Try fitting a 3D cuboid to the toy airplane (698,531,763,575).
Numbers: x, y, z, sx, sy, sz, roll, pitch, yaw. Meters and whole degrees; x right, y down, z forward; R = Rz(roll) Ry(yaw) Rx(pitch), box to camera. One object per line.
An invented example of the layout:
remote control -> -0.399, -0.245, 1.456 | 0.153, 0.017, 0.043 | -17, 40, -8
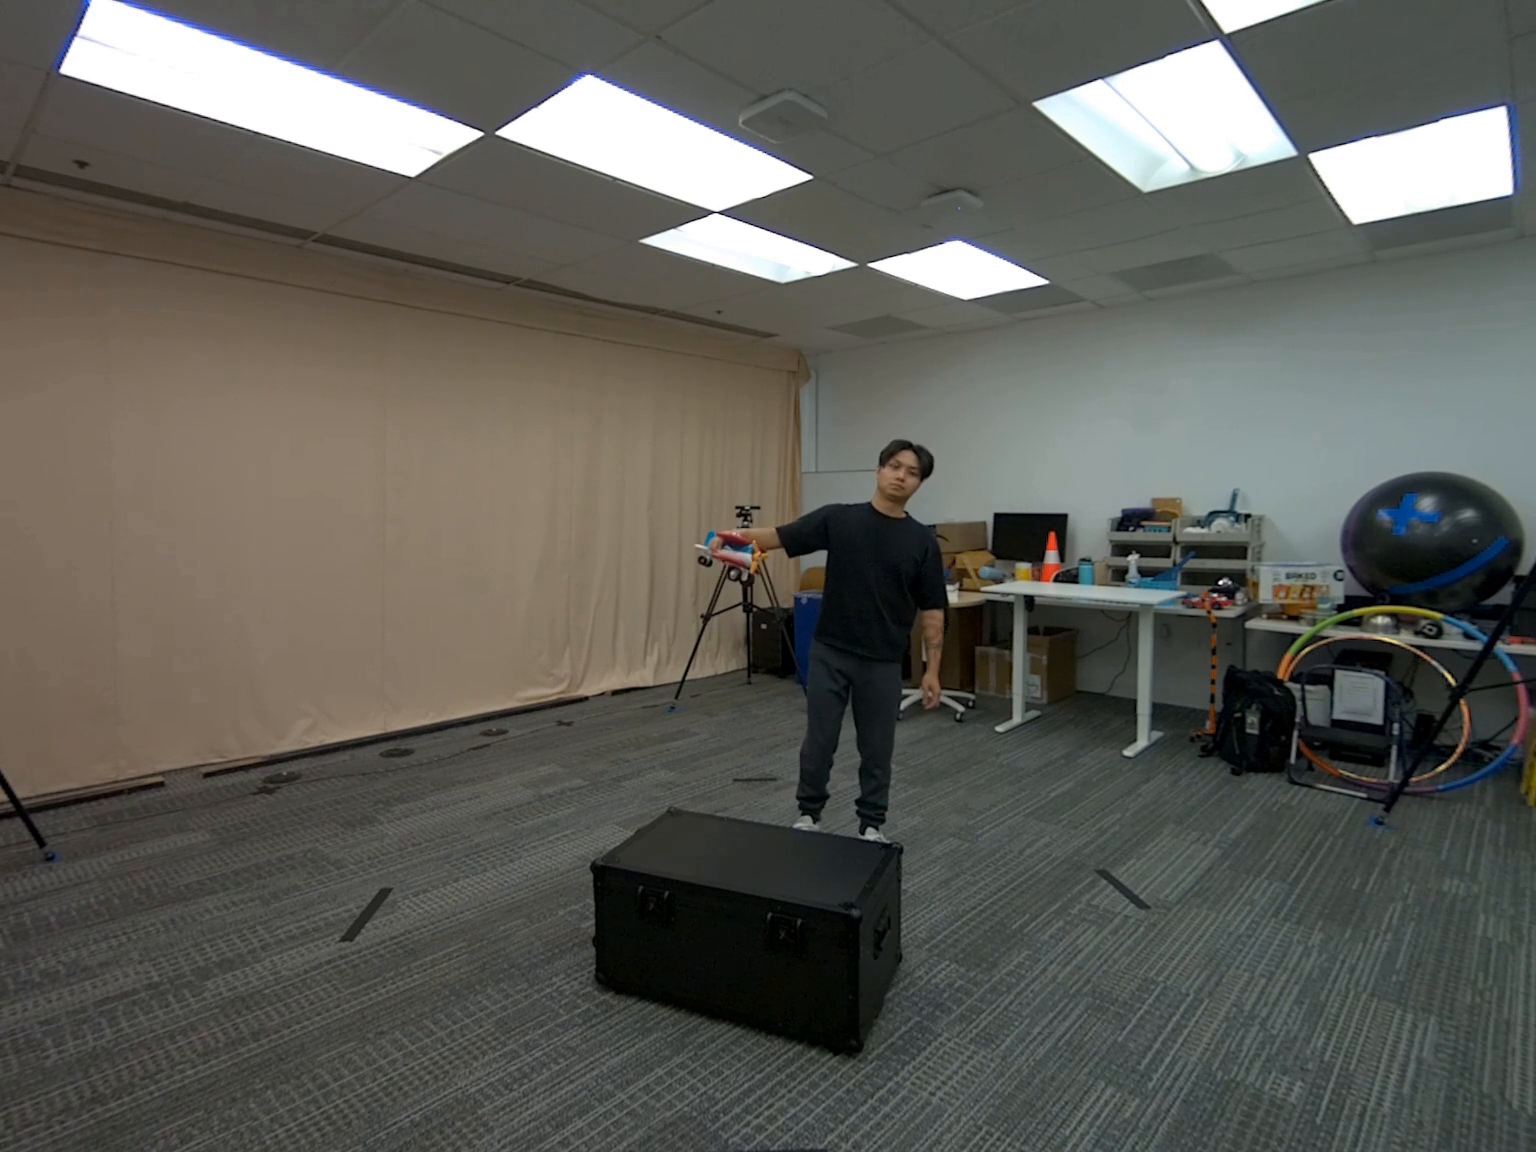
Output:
toy airplane -> -0.143, -0.082, 3.018 | 0.262, 0.156, 0.248 | 27, 1, 8
